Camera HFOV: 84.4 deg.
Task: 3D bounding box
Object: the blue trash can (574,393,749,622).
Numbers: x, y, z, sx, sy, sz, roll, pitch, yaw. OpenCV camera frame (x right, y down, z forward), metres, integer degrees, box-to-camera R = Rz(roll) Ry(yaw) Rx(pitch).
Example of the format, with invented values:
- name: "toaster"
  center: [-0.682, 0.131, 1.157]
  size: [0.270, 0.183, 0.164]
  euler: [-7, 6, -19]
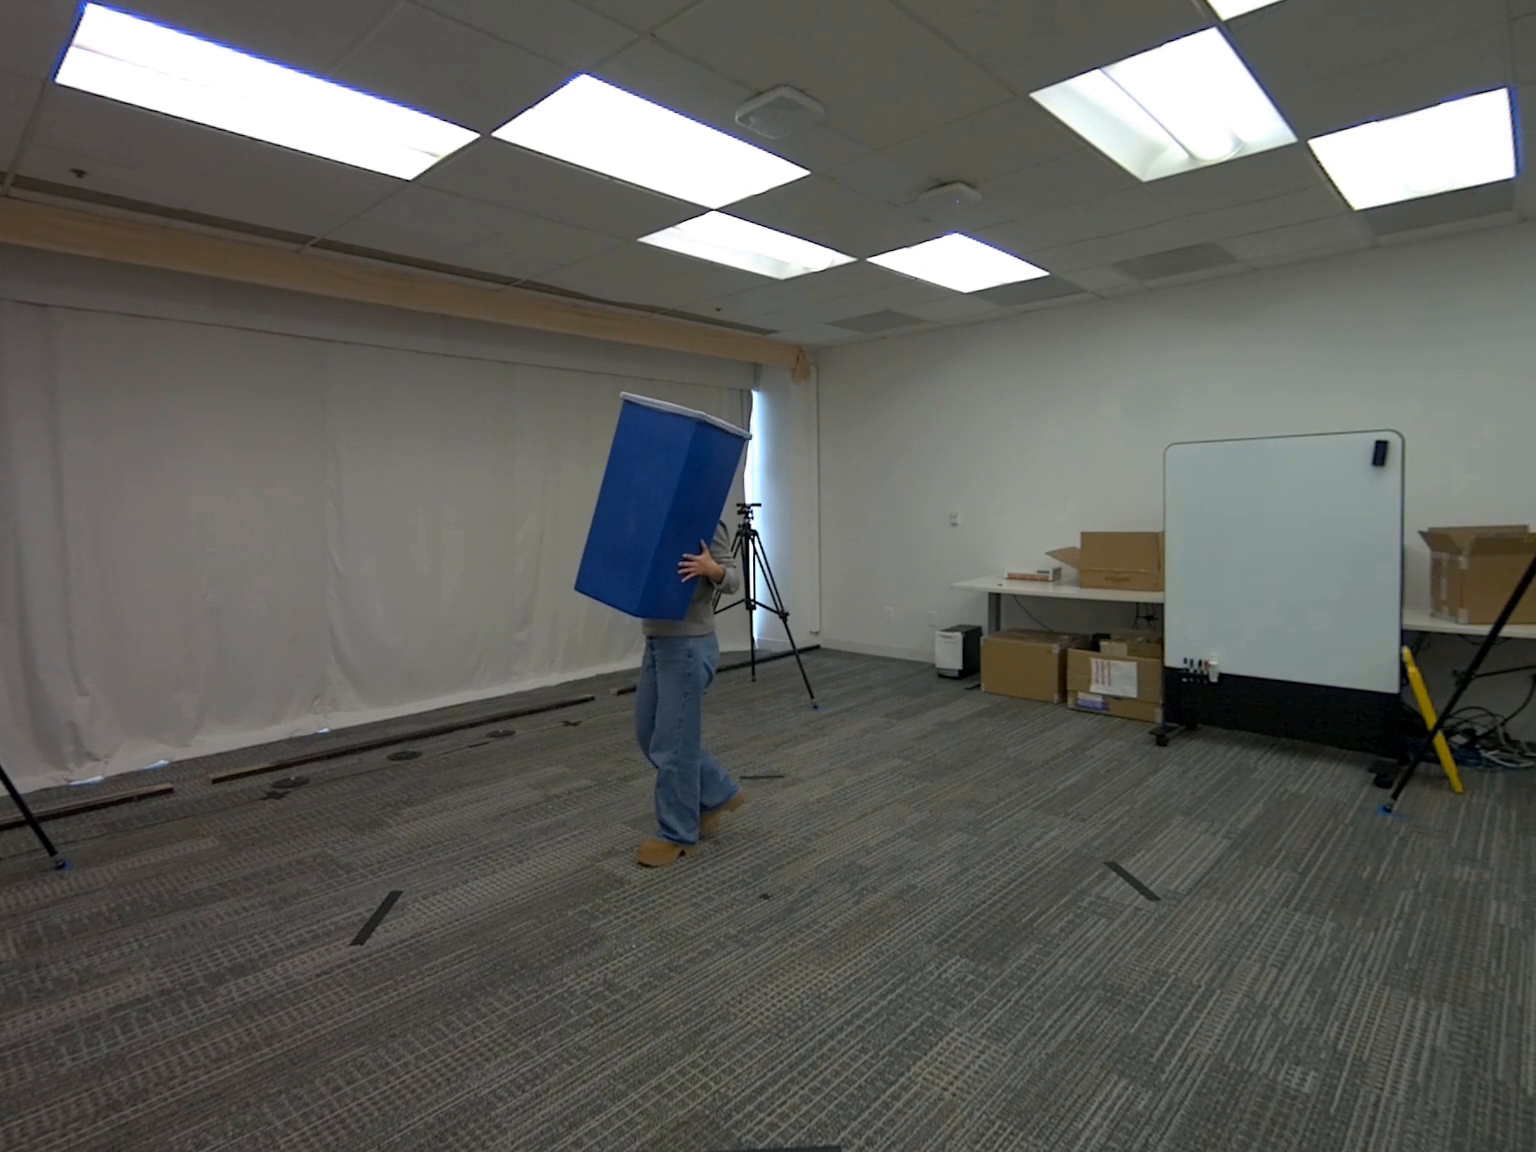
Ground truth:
- name: "blue trash can"
  center: [-0.379, -0.239, 2.975]
  size: [0.390, 0.713, 0.362]
  euler: [19, 4, 31]
